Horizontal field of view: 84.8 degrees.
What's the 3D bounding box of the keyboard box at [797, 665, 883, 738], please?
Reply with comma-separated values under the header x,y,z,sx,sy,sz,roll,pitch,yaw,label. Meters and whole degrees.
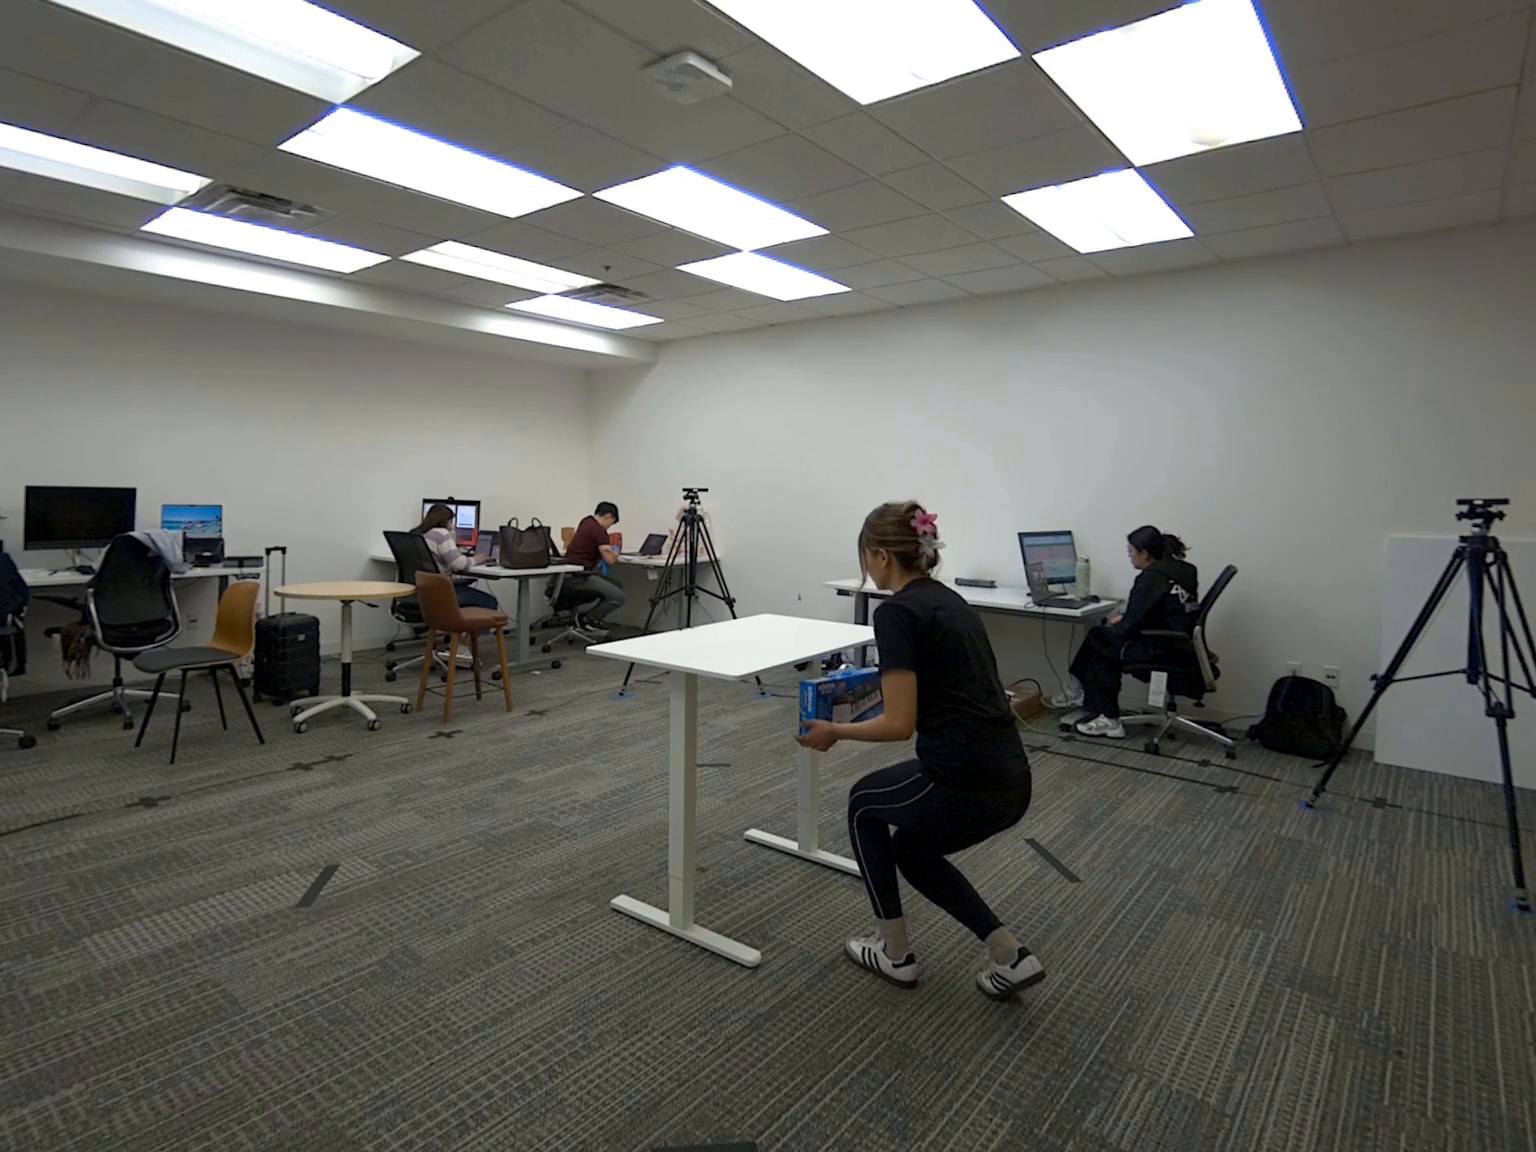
x,y,z,sx,sy,sz,roll,pitch,yaw,label
0.240,0.392,2.642,0.061,0.176,0.423,-2,0,38,keyboard box
